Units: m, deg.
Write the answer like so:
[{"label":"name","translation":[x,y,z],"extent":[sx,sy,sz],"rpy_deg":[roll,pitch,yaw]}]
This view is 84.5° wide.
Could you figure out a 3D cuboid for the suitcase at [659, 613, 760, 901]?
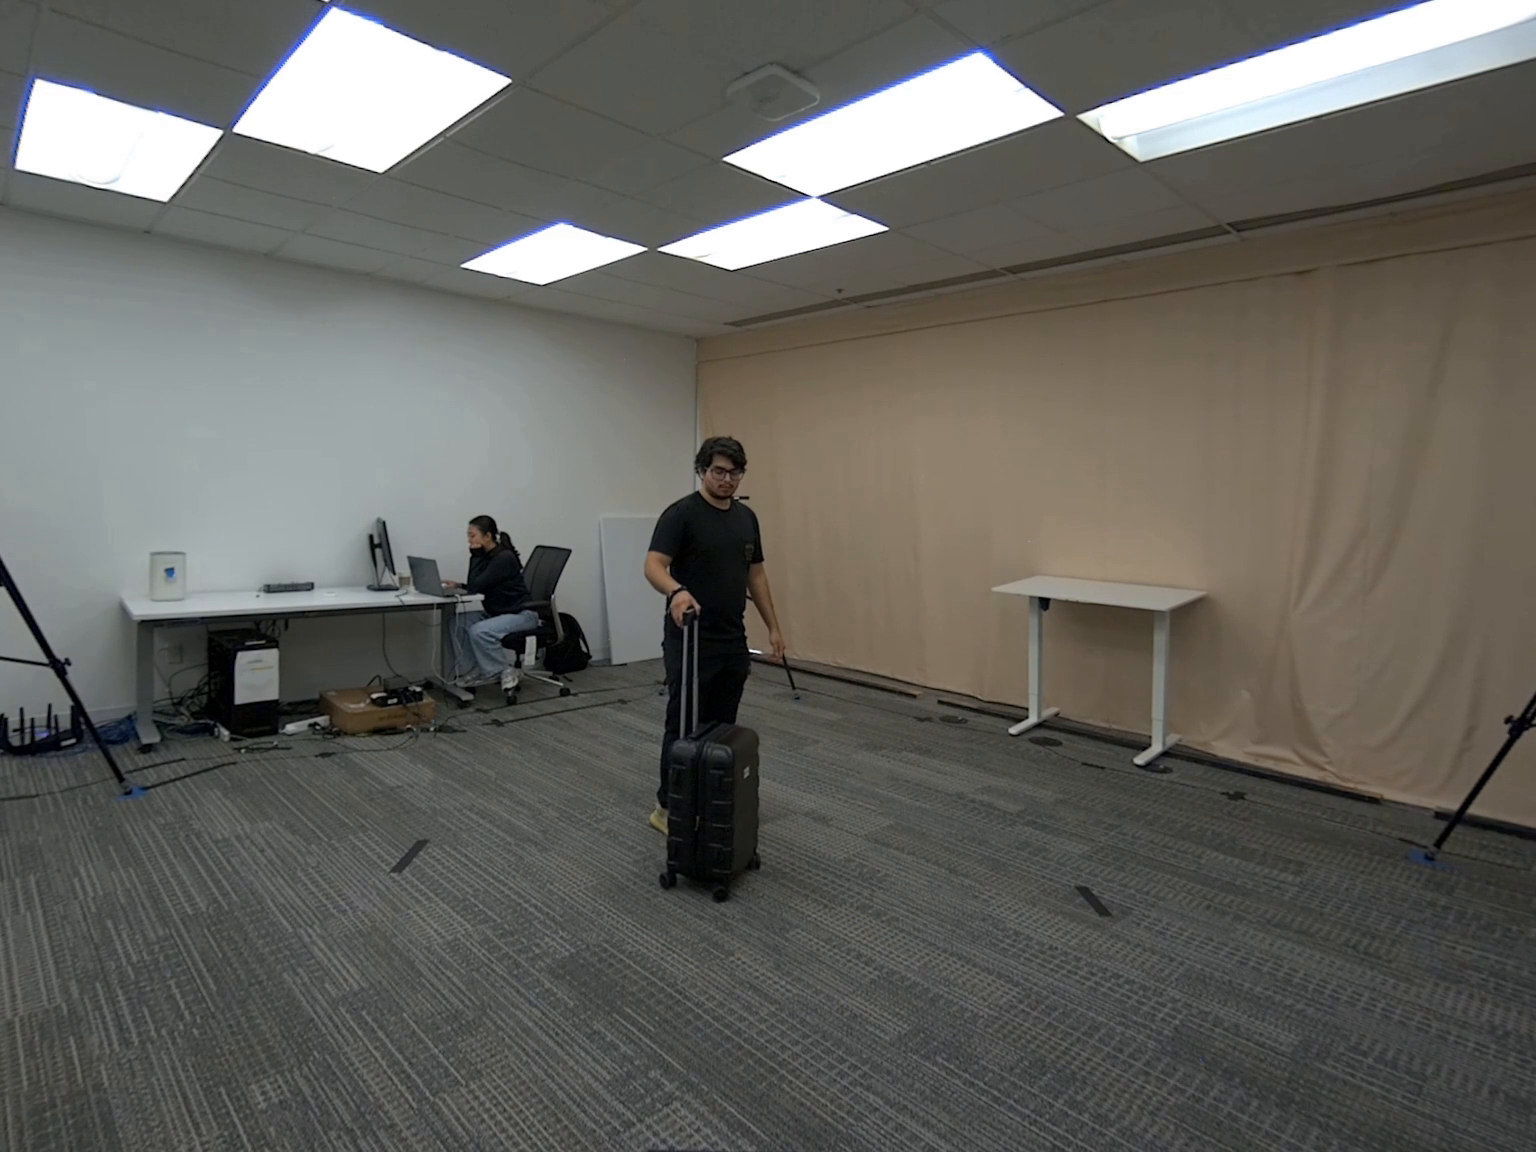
[{"label":"suitcase","translation":[-0.190,0.628,3.058],"extent":[0.261,0.976,0.379],"rpy_deg":[4,4,18]}]
